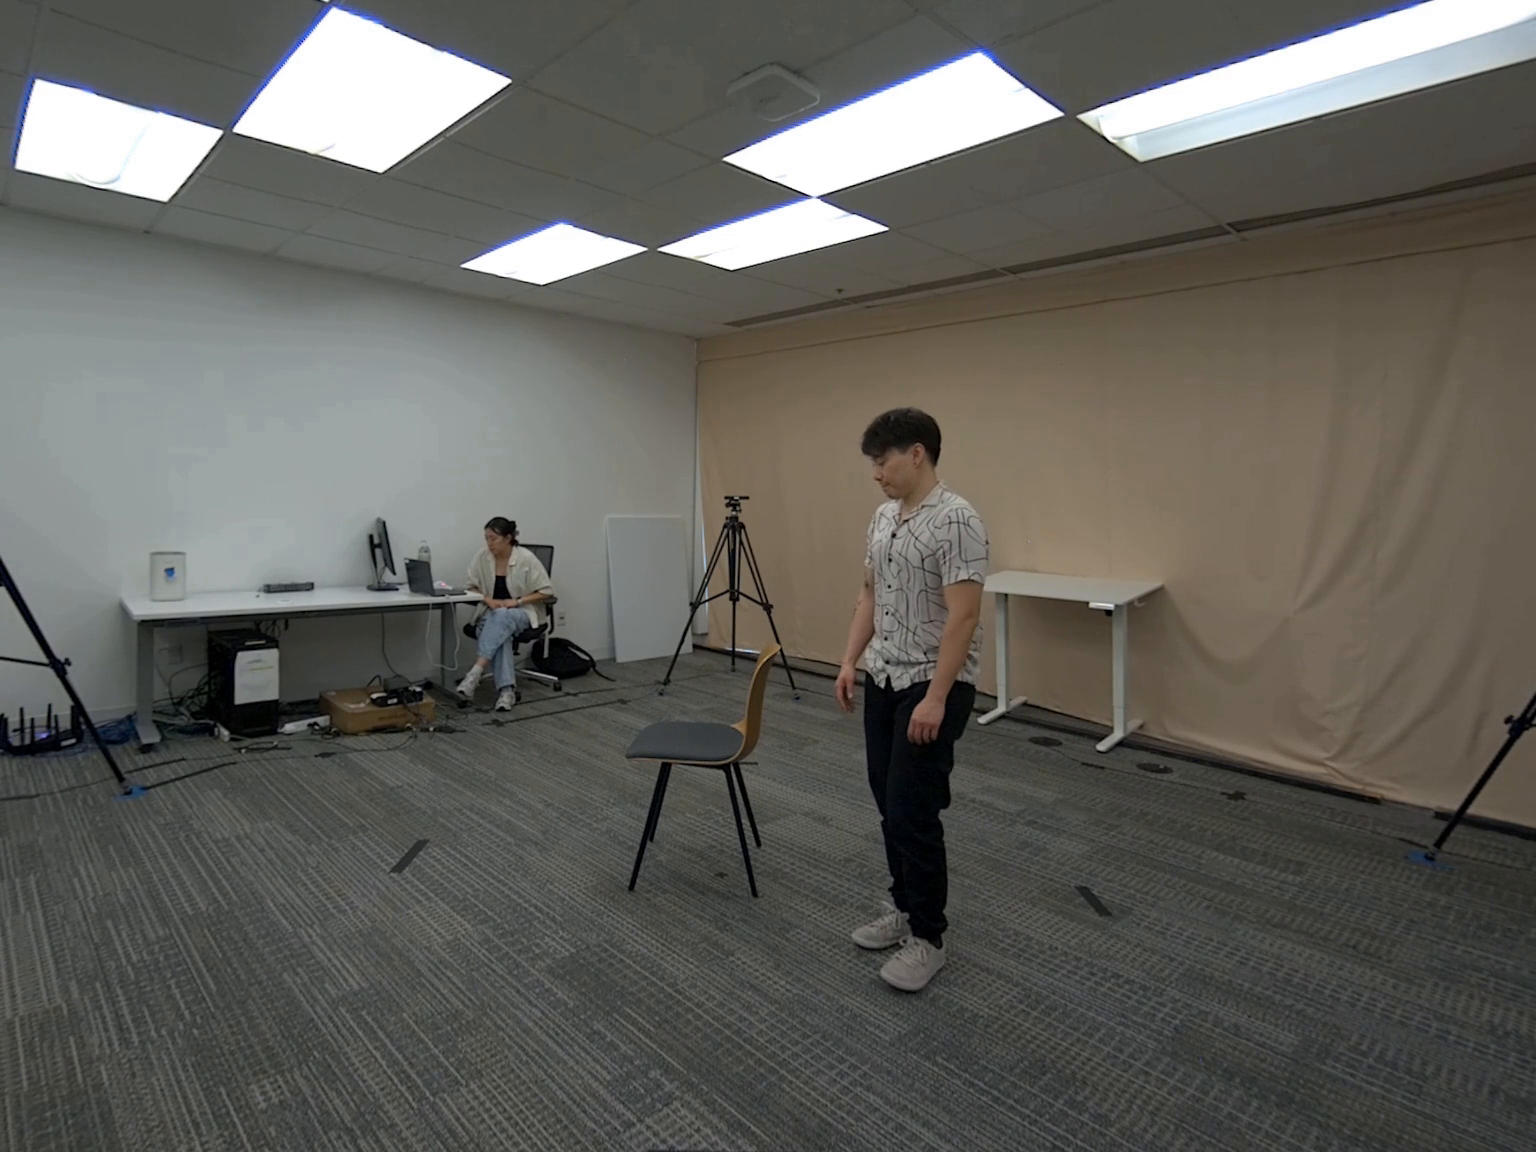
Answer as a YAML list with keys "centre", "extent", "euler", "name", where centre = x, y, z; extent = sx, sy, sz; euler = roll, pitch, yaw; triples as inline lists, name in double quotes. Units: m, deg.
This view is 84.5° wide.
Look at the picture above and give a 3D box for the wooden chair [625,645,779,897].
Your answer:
- centre: [-0.261, 0.671, 3.131]
  extent: [0.524, 0.875, 0.478]
  euler: [6, 4, 1]
  name: "wooden chair"
